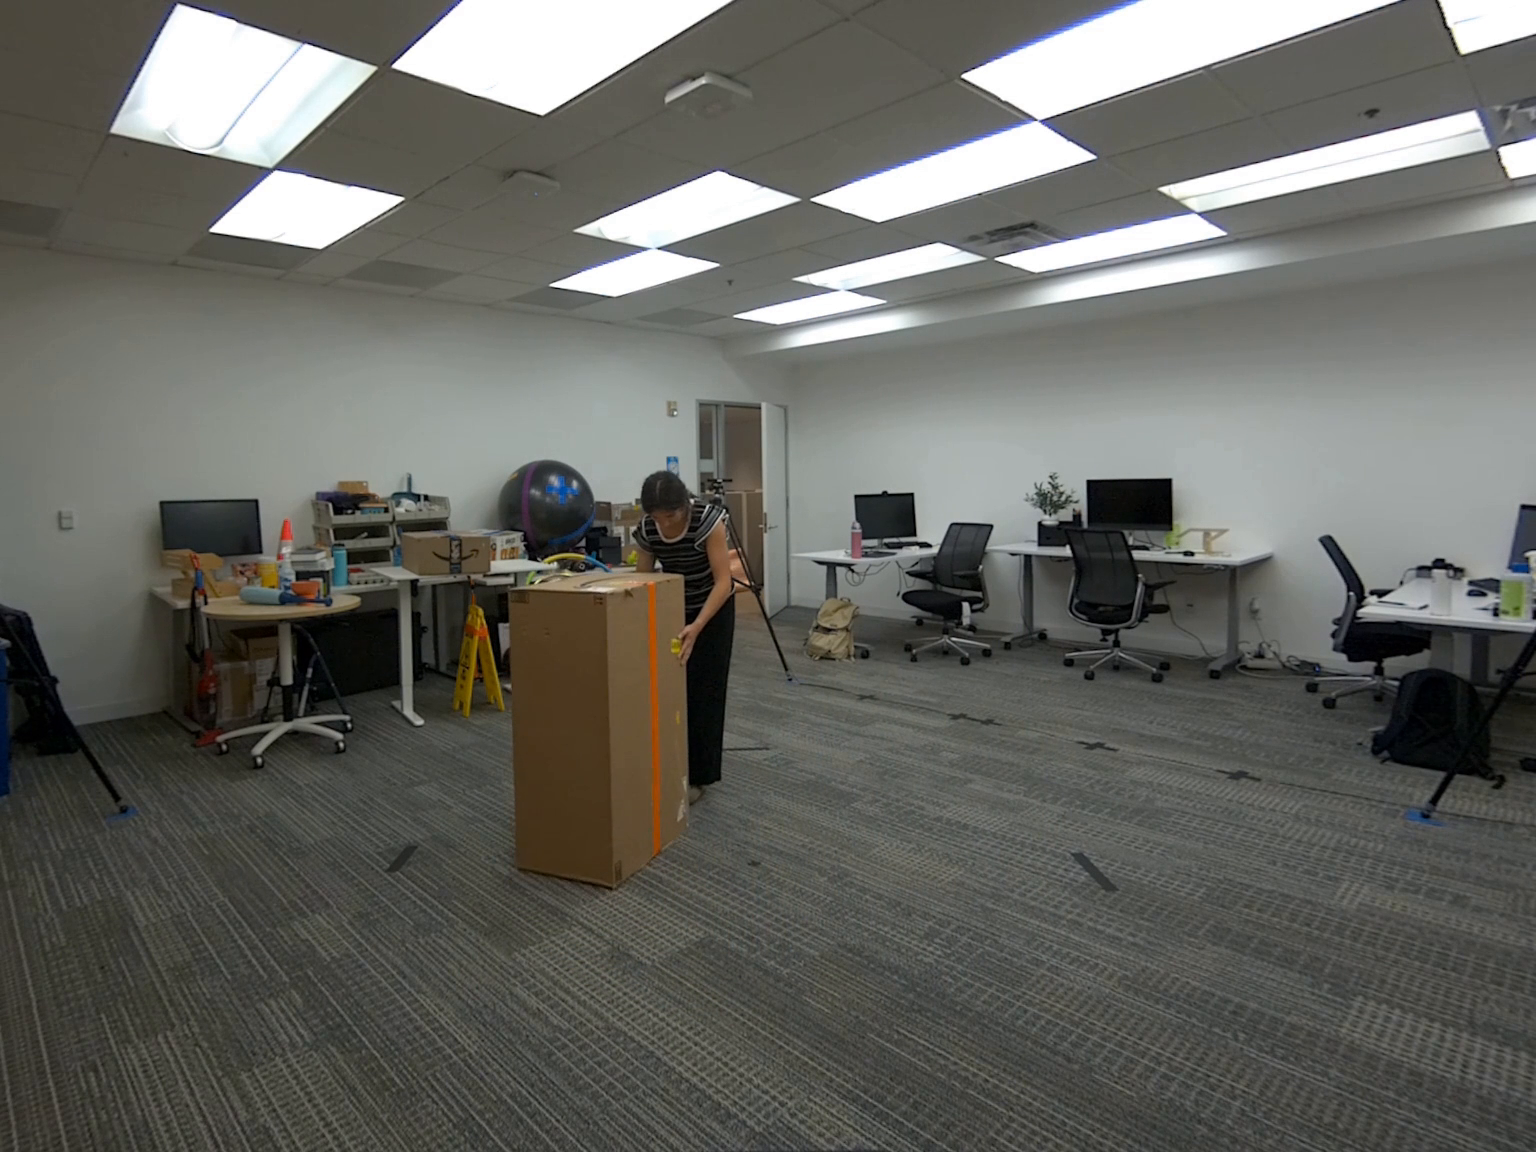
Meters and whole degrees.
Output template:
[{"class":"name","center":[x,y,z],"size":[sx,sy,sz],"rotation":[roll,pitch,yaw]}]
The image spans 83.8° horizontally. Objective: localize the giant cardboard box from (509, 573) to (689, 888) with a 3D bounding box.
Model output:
[{"class":"giant cardboard box","center":[-0.627,0.529,3.240],"size":[0.435,1.022,0.567],"rotation":[0,4,23]}]
